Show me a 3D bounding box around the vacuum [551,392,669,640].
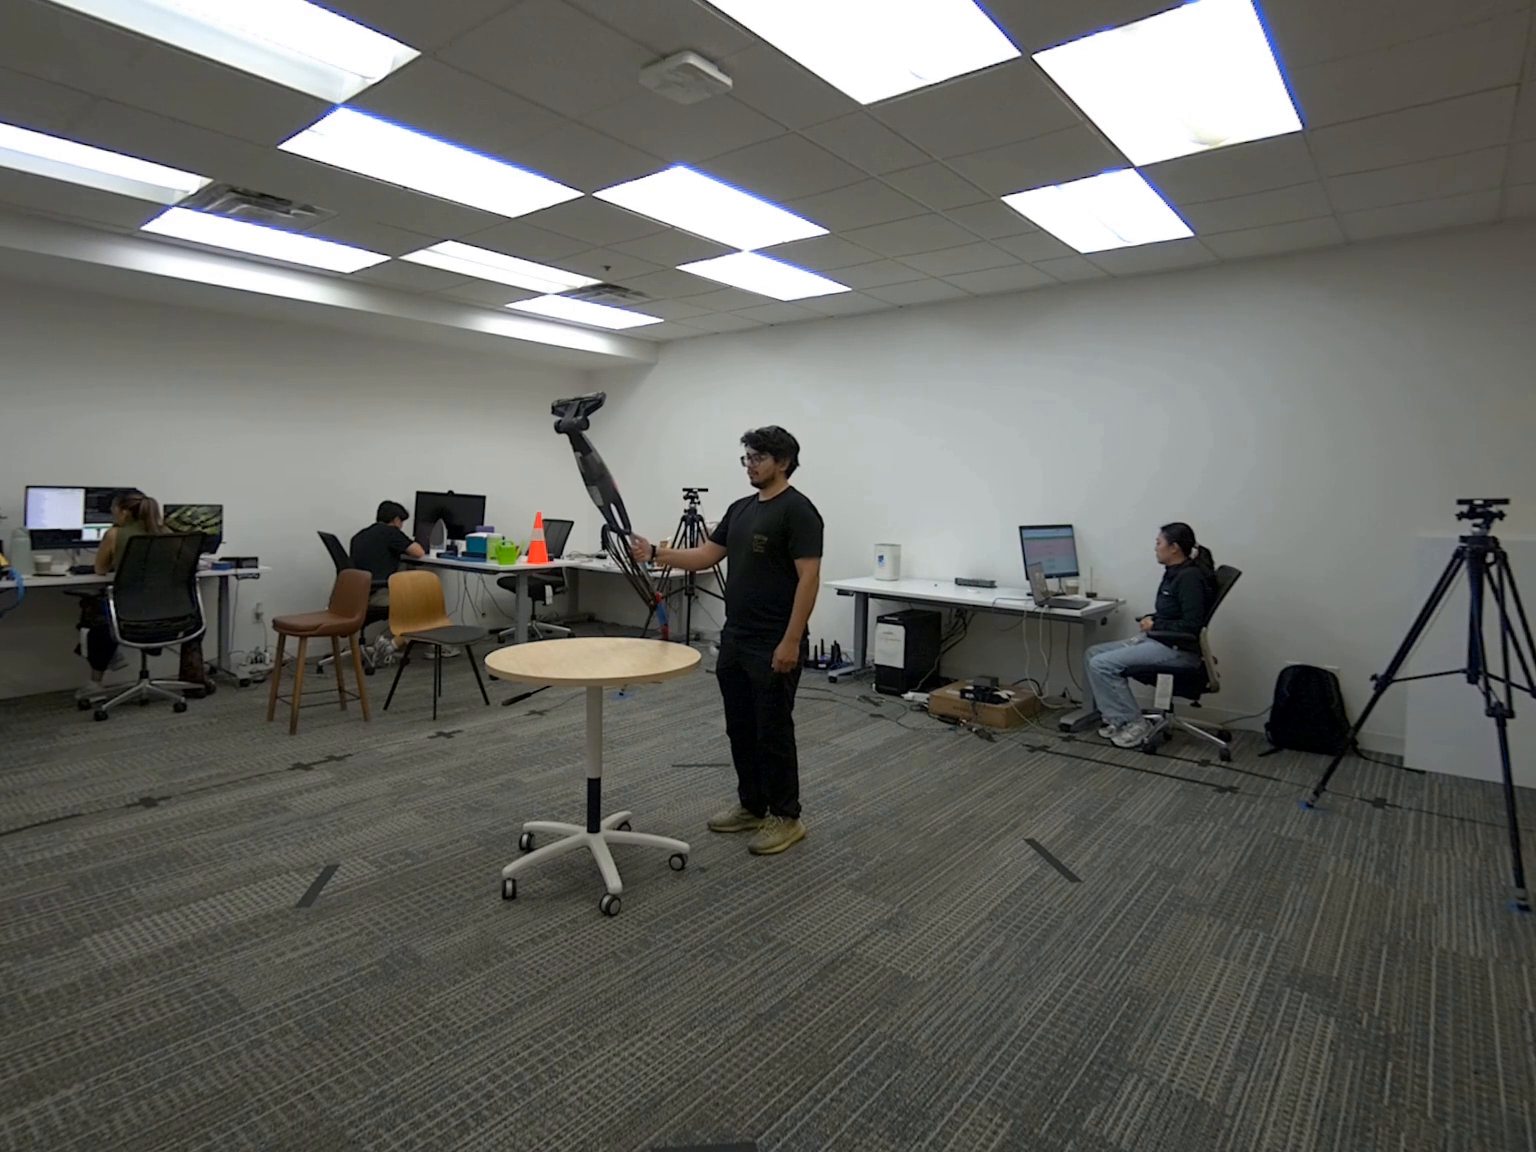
[{"bbox_3d":[-0.583,-0.162,3.298,0.260,1.023,0.143,-1,27,37],"label":"vacuum"}]
